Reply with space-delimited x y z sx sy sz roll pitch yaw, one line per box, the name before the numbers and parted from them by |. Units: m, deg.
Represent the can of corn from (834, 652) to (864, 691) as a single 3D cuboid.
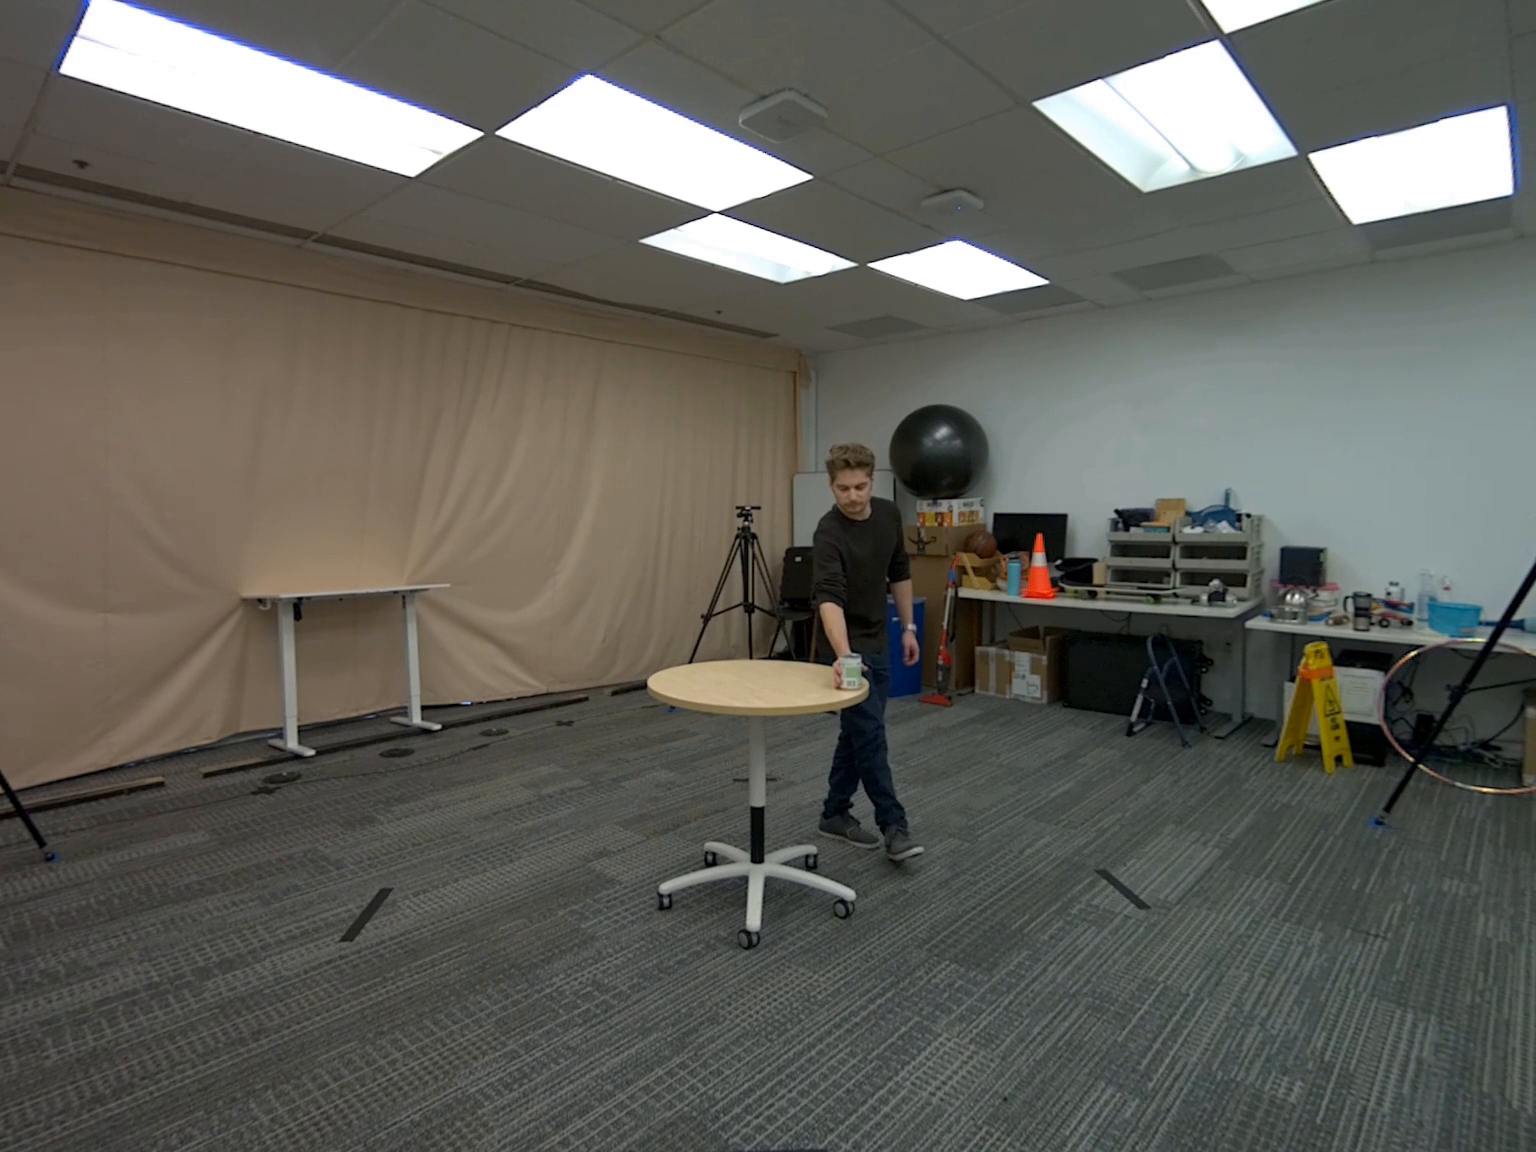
can of corn | 0.271 0.321 2.800 0.074 0.111 0.074 -1 3 -2
